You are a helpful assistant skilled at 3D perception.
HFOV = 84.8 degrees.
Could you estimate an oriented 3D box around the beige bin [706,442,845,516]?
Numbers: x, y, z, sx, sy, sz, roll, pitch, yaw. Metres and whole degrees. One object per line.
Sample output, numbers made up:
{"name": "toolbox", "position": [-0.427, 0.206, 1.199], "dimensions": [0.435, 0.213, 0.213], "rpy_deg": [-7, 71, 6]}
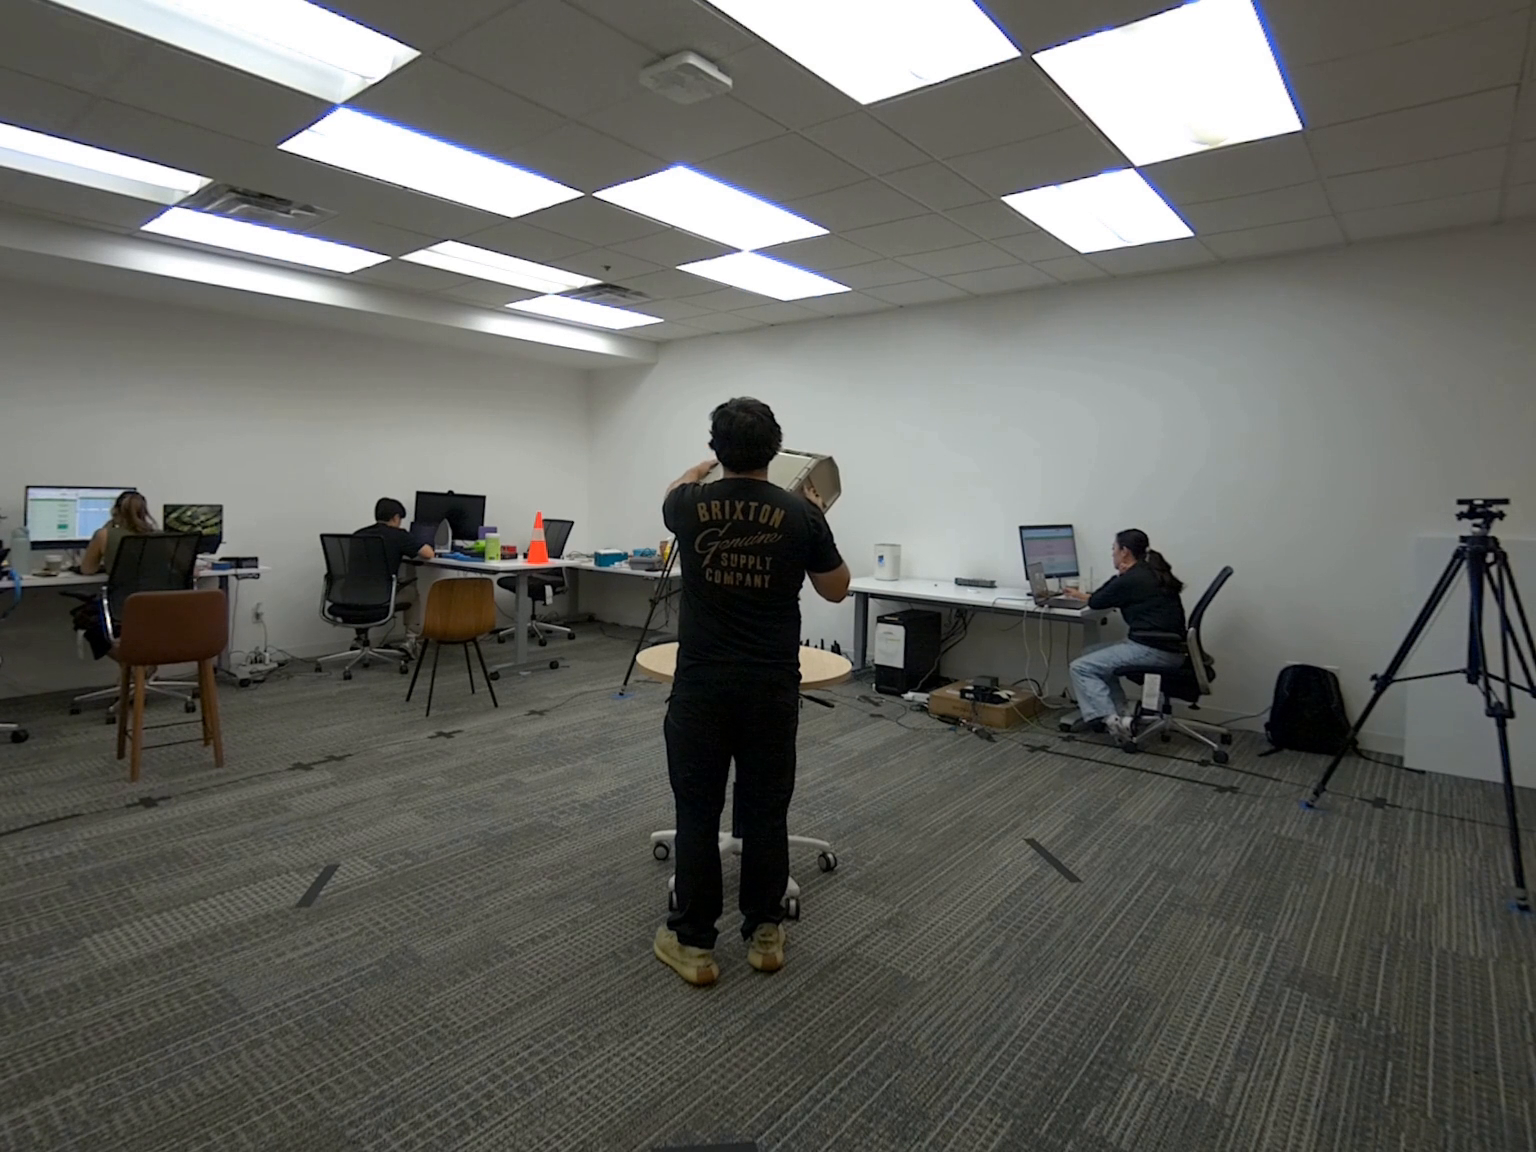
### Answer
{"name": "beige bin", "position": [-0.034, -0.274, 2.926], "dimensions": [0.439, 0.182, 0.377], "rpy_deg": [17, 57, 42]}
